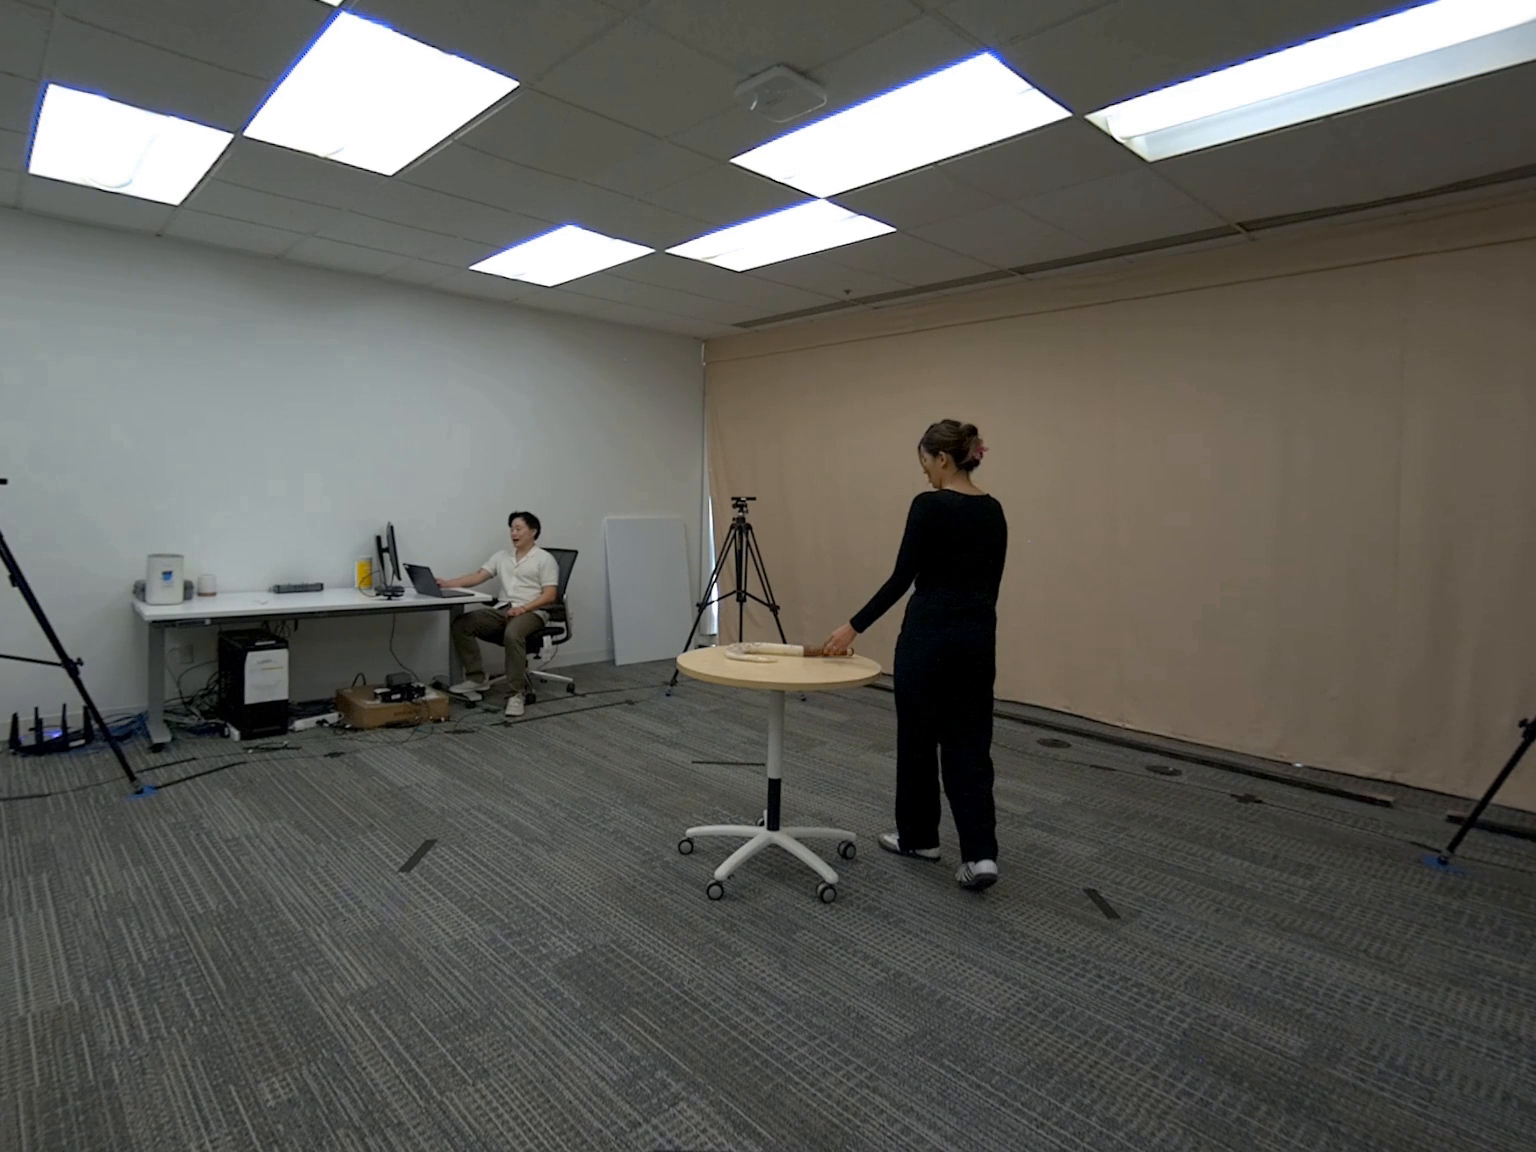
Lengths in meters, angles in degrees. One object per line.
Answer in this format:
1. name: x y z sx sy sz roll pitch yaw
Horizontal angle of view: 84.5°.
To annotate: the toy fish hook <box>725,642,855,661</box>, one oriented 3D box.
1. toy fish hook: 0.089 0.307 3.240 0.505 0.048 0.227 0 12 -3
